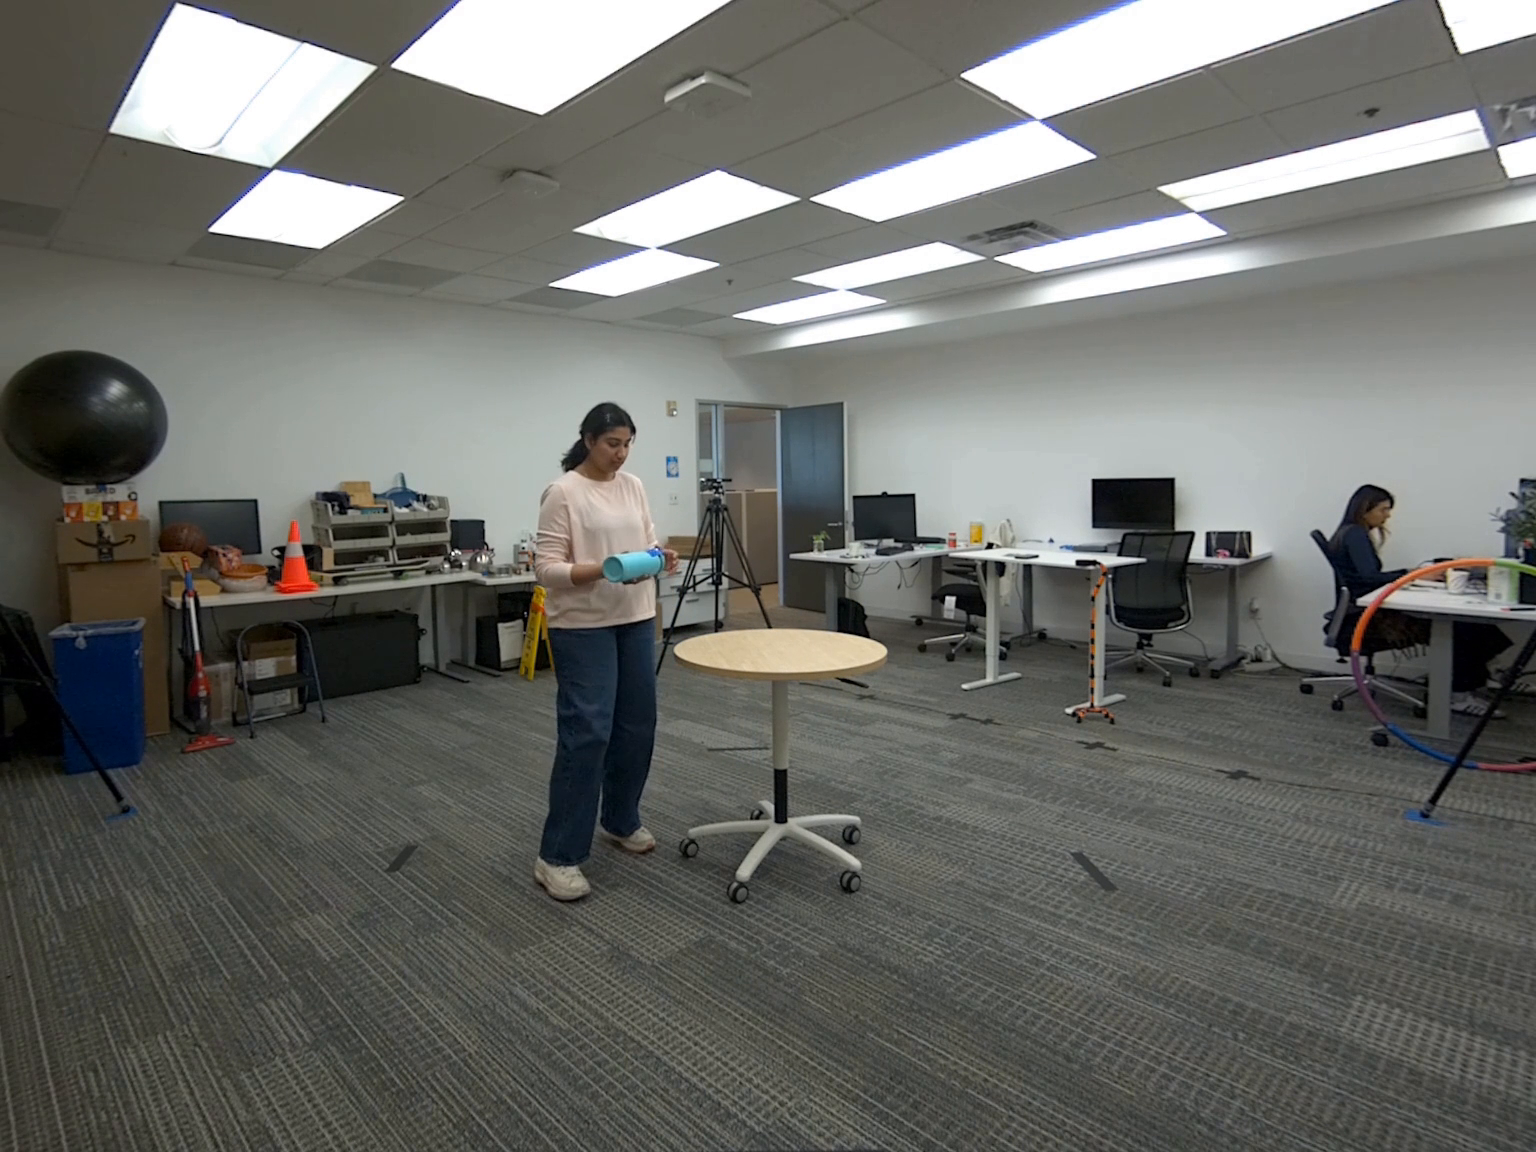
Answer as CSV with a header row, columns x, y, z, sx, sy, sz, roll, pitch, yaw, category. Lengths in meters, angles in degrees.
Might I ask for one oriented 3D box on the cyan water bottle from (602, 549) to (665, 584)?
x,y,z,sx,sy,sz,roll,pitch,yaw,category
-0.446,-0.035,2.864,0.094,0.092,0.278,1,6,25,cyan water bottle
